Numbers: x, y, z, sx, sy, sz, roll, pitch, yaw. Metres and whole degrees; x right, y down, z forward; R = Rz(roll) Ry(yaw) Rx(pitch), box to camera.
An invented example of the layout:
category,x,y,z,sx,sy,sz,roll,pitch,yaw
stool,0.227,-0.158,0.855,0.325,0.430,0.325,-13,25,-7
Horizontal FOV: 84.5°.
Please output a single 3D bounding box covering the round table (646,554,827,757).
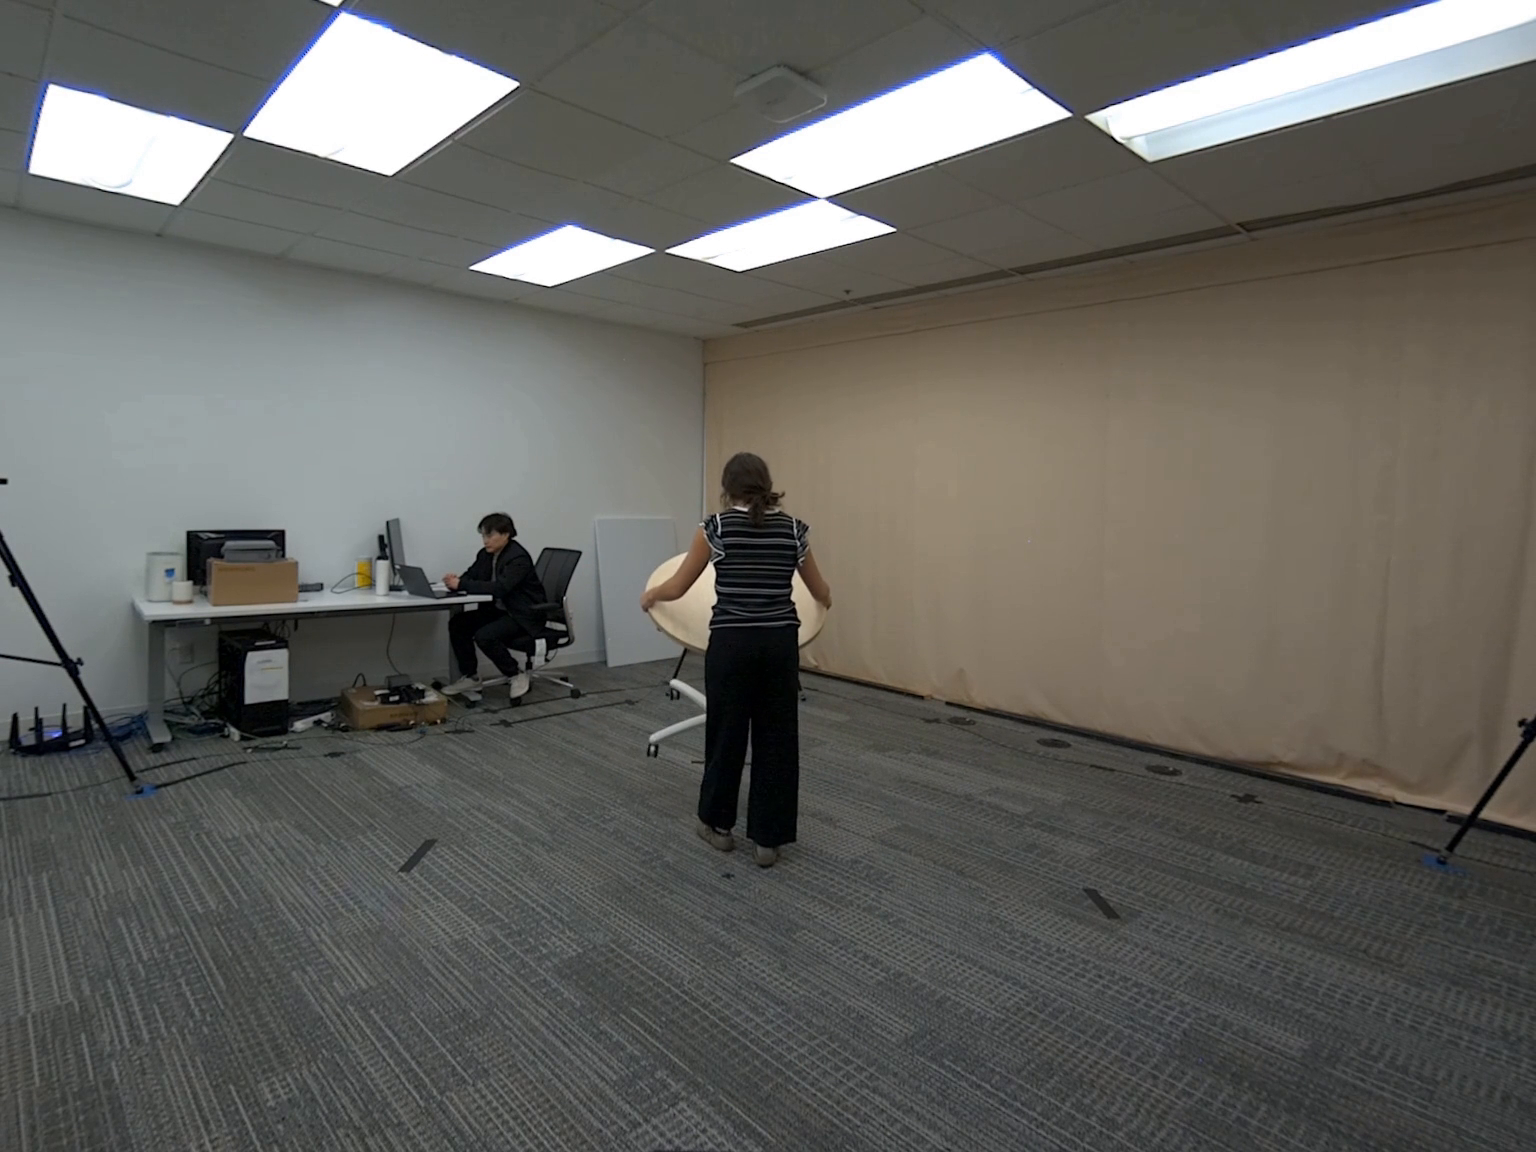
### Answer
category,x,y,z,sx,sy,sz,roll,pitch,yaw
round table,-0.186,0.421,3.766,0.761,0.780,0.779,5,32,-5
